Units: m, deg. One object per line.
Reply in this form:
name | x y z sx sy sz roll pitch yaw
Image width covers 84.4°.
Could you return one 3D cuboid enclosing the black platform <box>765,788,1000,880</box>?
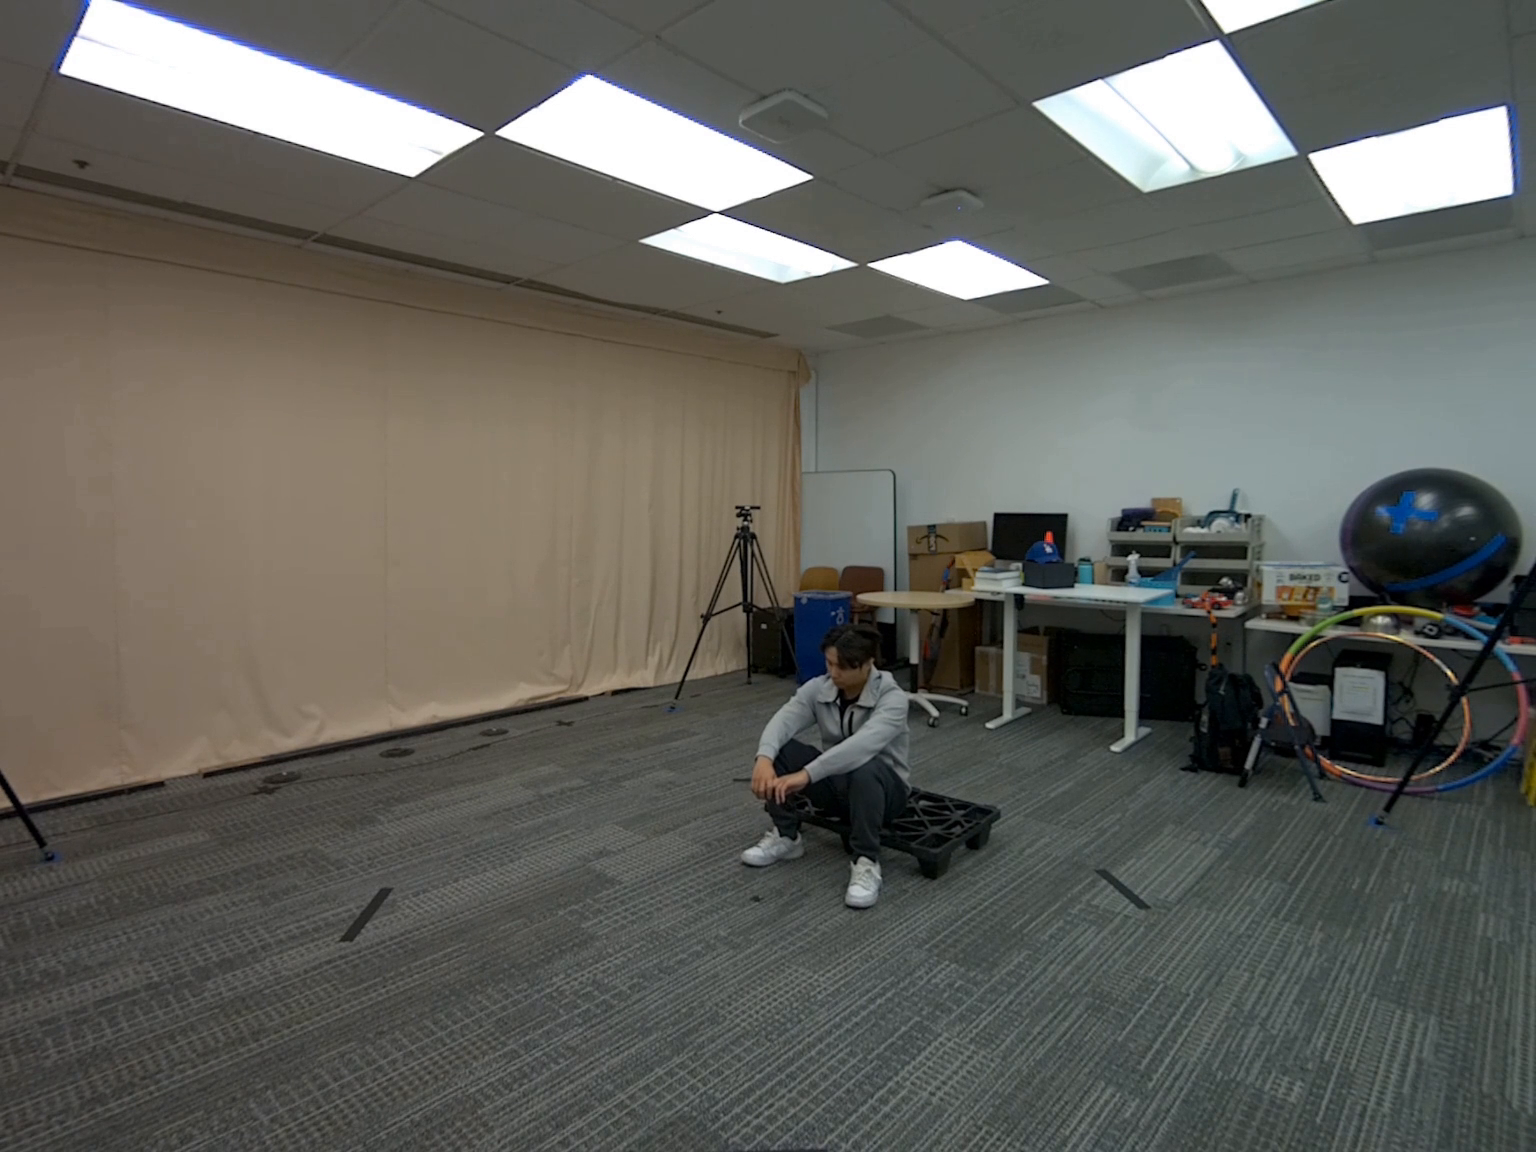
black platform | 0.474 1.029 3.528 0.832 0.143 0.587 4 6 39
